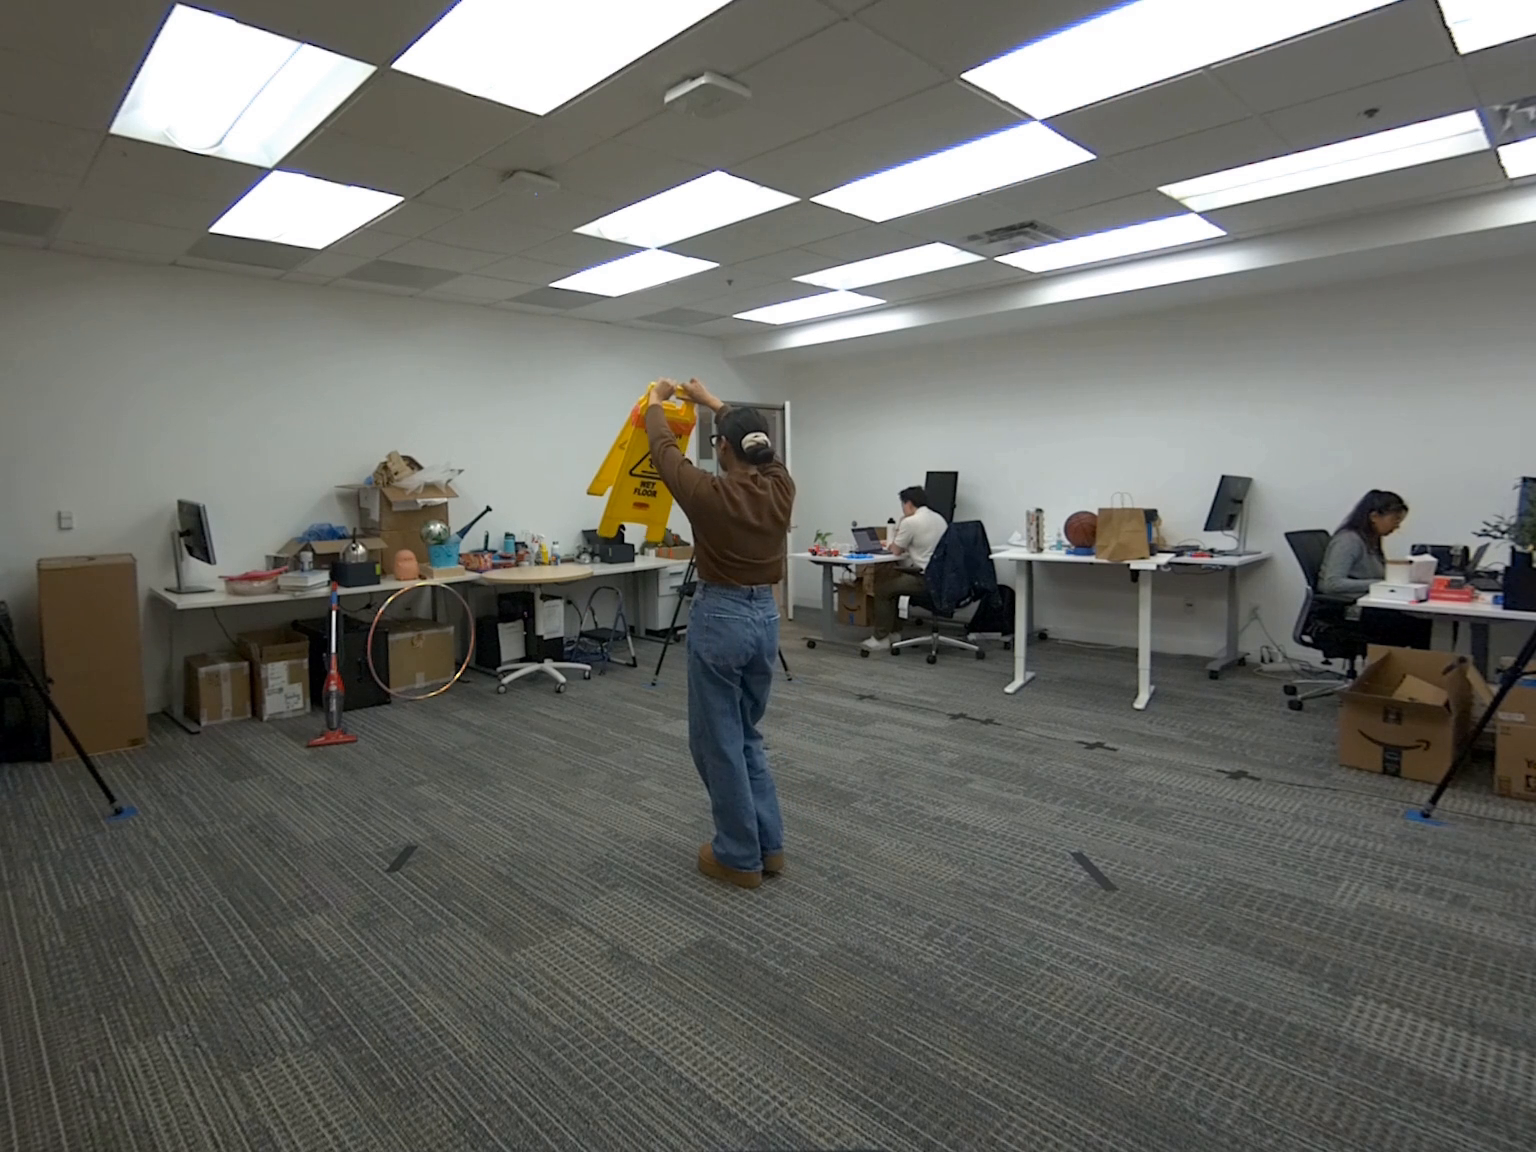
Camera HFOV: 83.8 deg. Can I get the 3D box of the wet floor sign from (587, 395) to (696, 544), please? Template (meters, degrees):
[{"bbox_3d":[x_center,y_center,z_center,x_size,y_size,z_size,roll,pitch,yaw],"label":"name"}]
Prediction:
[{"bbox_3d":[-0.460,-0.473,3.341,0.275,0.639,0.300,6,40,-28],"label":"wet floor sign"}]
